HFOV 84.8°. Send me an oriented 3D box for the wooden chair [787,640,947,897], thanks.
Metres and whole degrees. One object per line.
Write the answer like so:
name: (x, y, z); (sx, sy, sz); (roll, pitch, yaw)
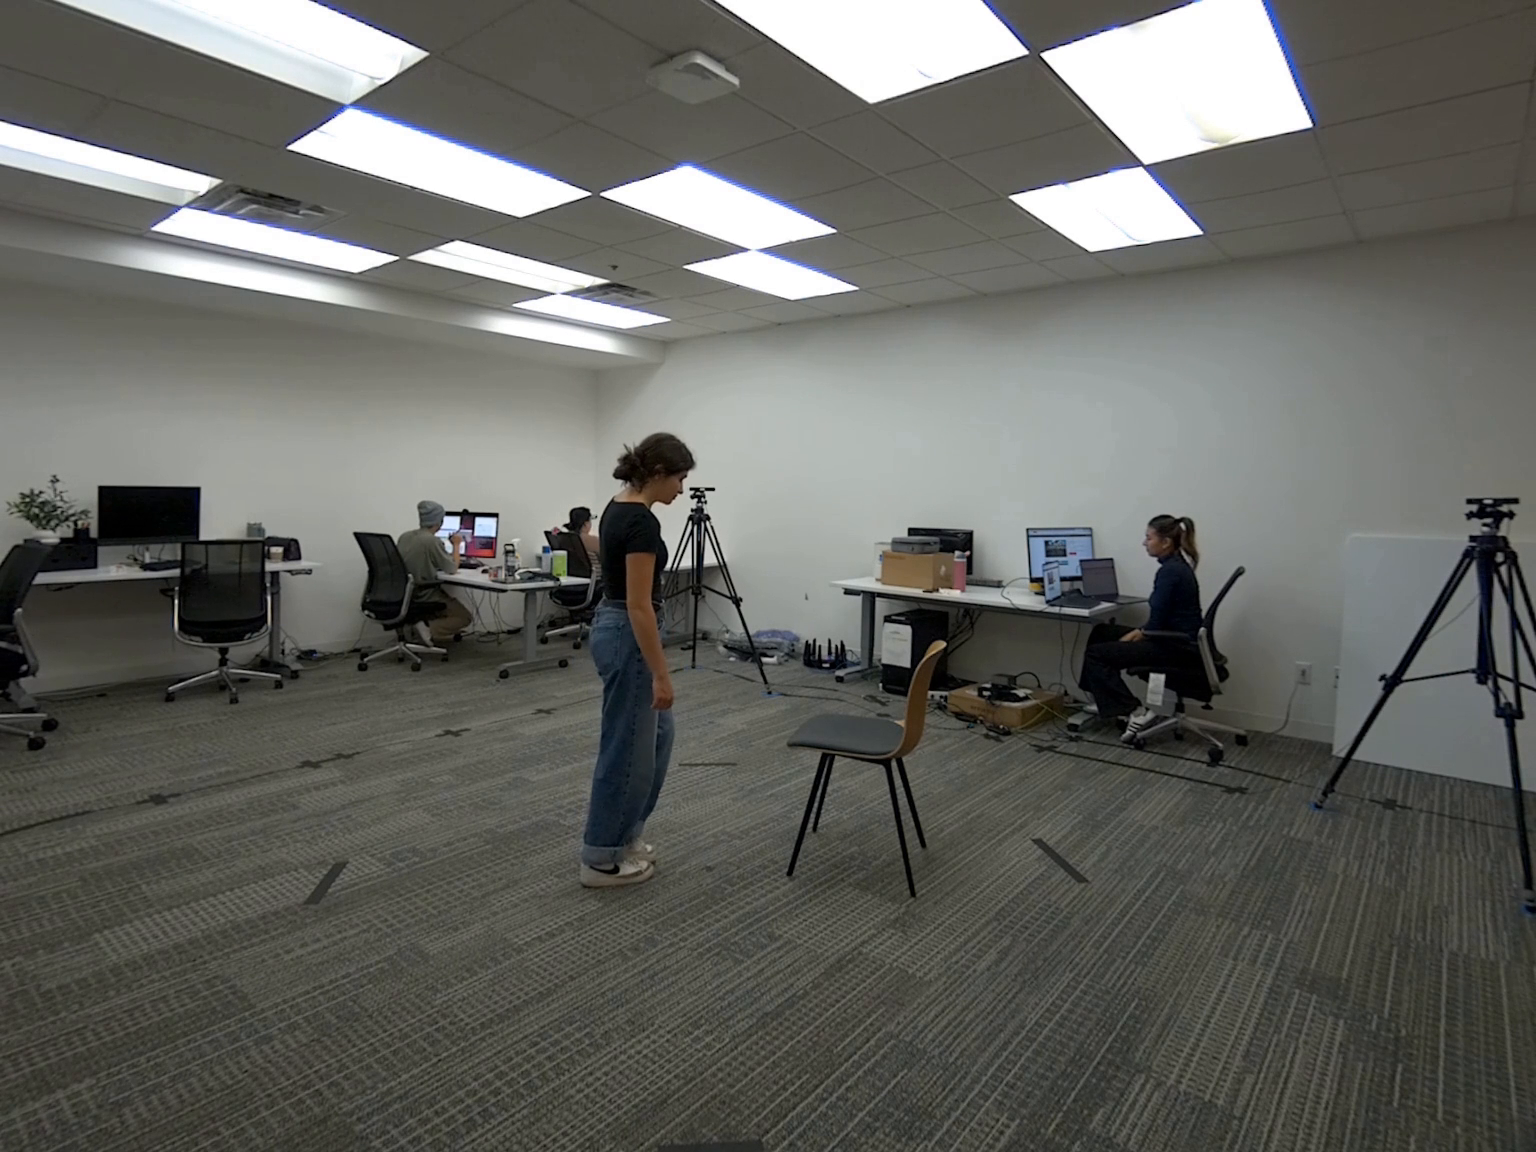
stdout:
wooden chair: (0.342, 0.650, 3.172); (0.534, 0.874, 0.470); (7, 5, 17)
